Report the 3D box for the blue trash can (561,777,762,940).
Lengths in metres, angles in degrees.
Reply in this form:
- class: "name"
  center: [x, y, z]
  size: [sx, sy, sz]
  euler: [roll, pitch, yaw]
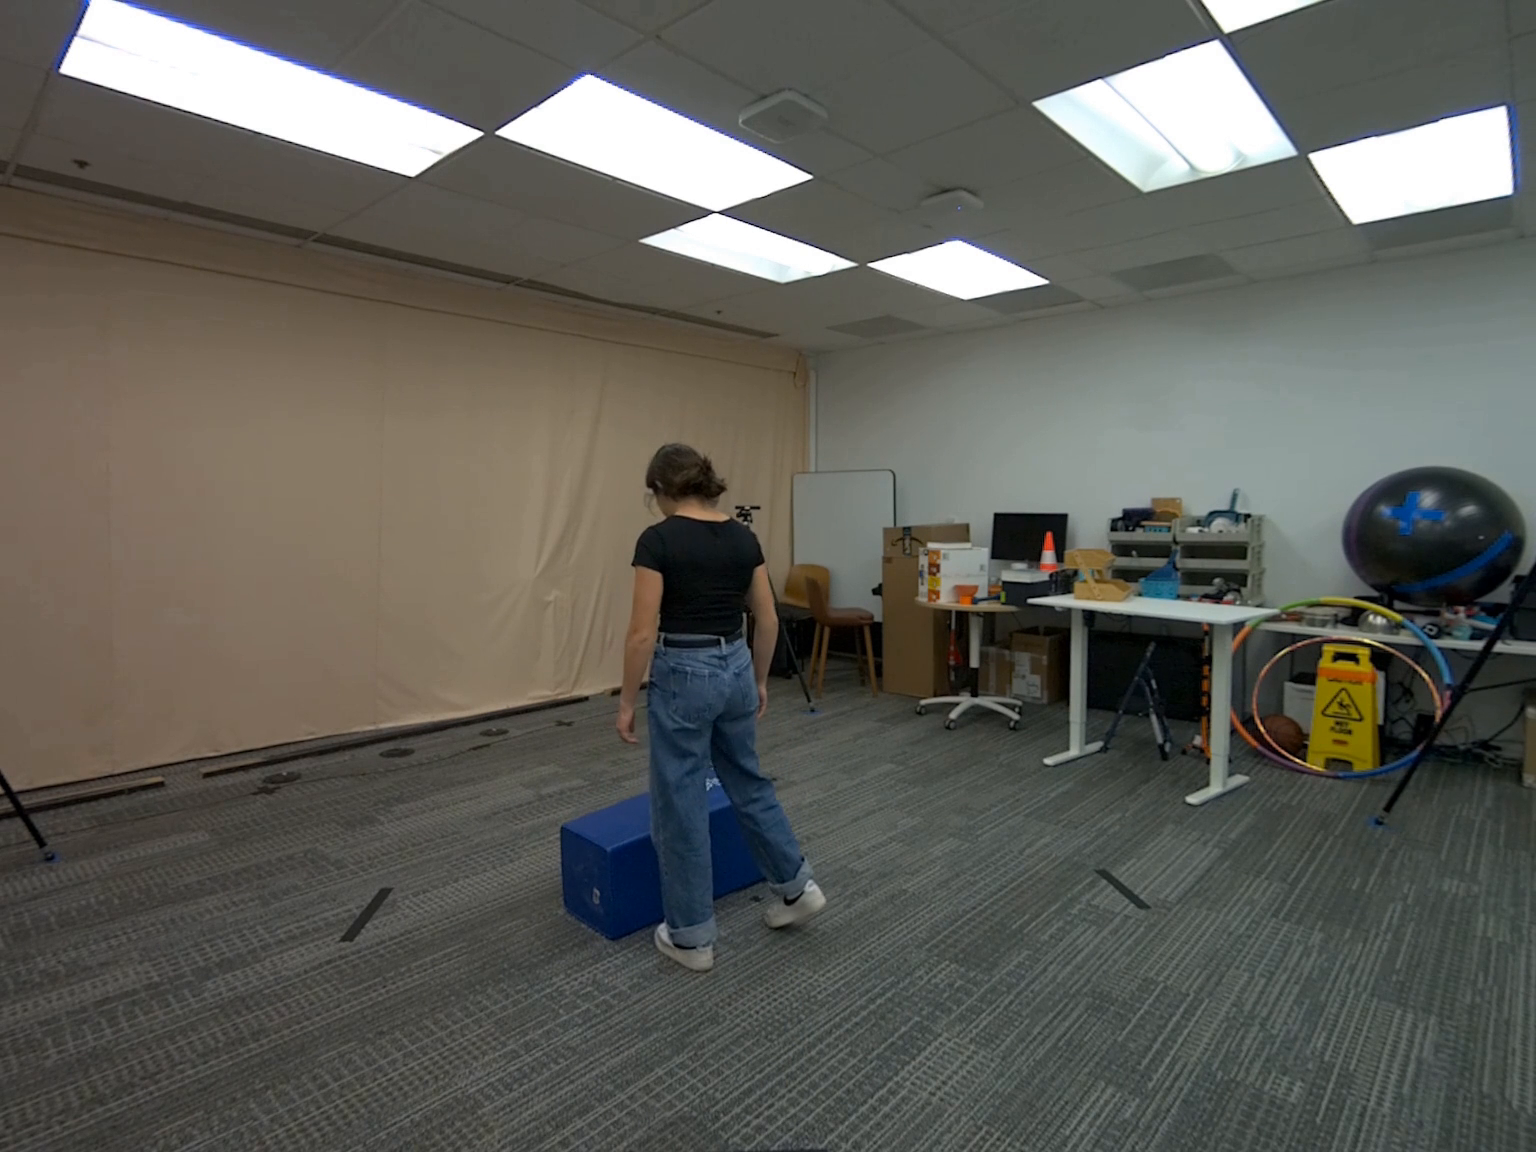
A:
- class: "blue trash can"
  center: [-0.357, 0.981, 3.021]
  size: [0.693, 0.372, 0.391]
  euler: [-8, 9, -41]
